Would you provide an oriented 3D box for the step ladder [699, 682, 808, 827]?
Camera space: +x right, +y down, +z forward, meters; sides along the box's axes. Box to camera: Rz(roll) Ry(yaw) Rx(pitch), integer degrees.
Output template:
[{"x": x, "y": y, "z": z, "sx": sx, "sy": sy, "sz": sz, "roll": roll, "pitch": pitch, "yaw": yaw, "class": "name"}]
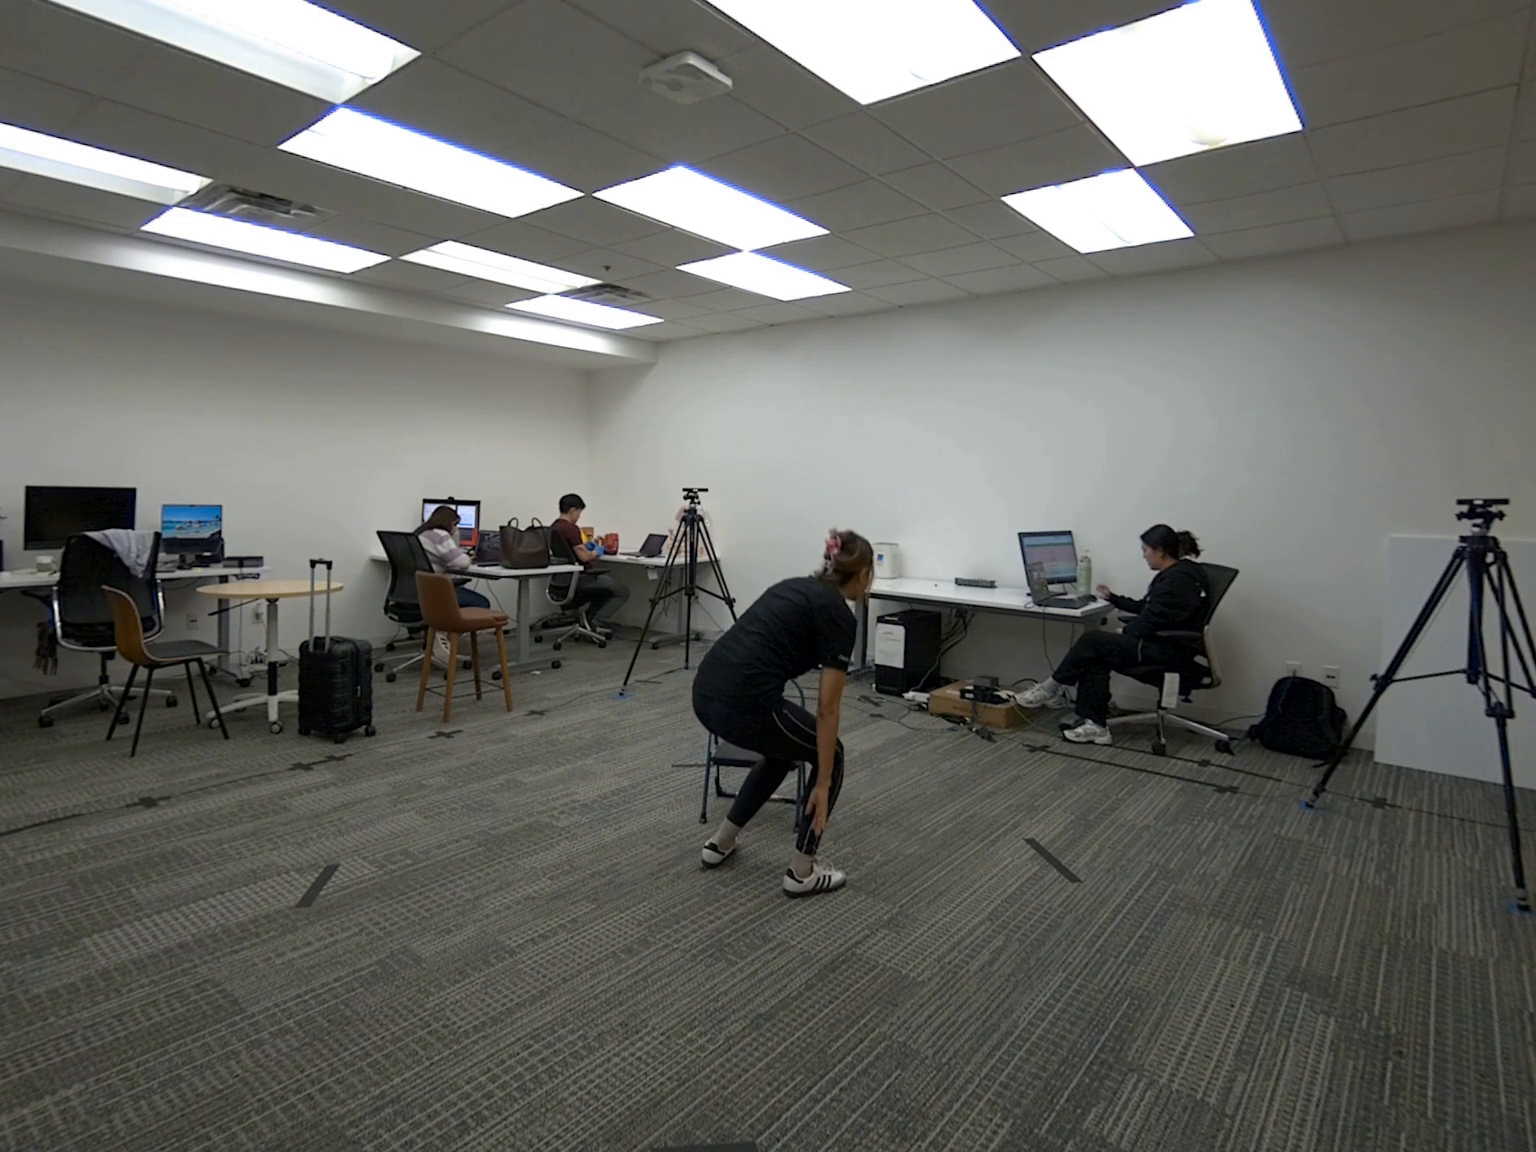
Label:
[{"x": -0.056, "y": 0.716, "z": 3.660, "sx": 0.436, "sy": 0.605, "sz": 0.346, "roll": 1, "pitch": 3, "yaw": 10, "class": "step ladder"}]
